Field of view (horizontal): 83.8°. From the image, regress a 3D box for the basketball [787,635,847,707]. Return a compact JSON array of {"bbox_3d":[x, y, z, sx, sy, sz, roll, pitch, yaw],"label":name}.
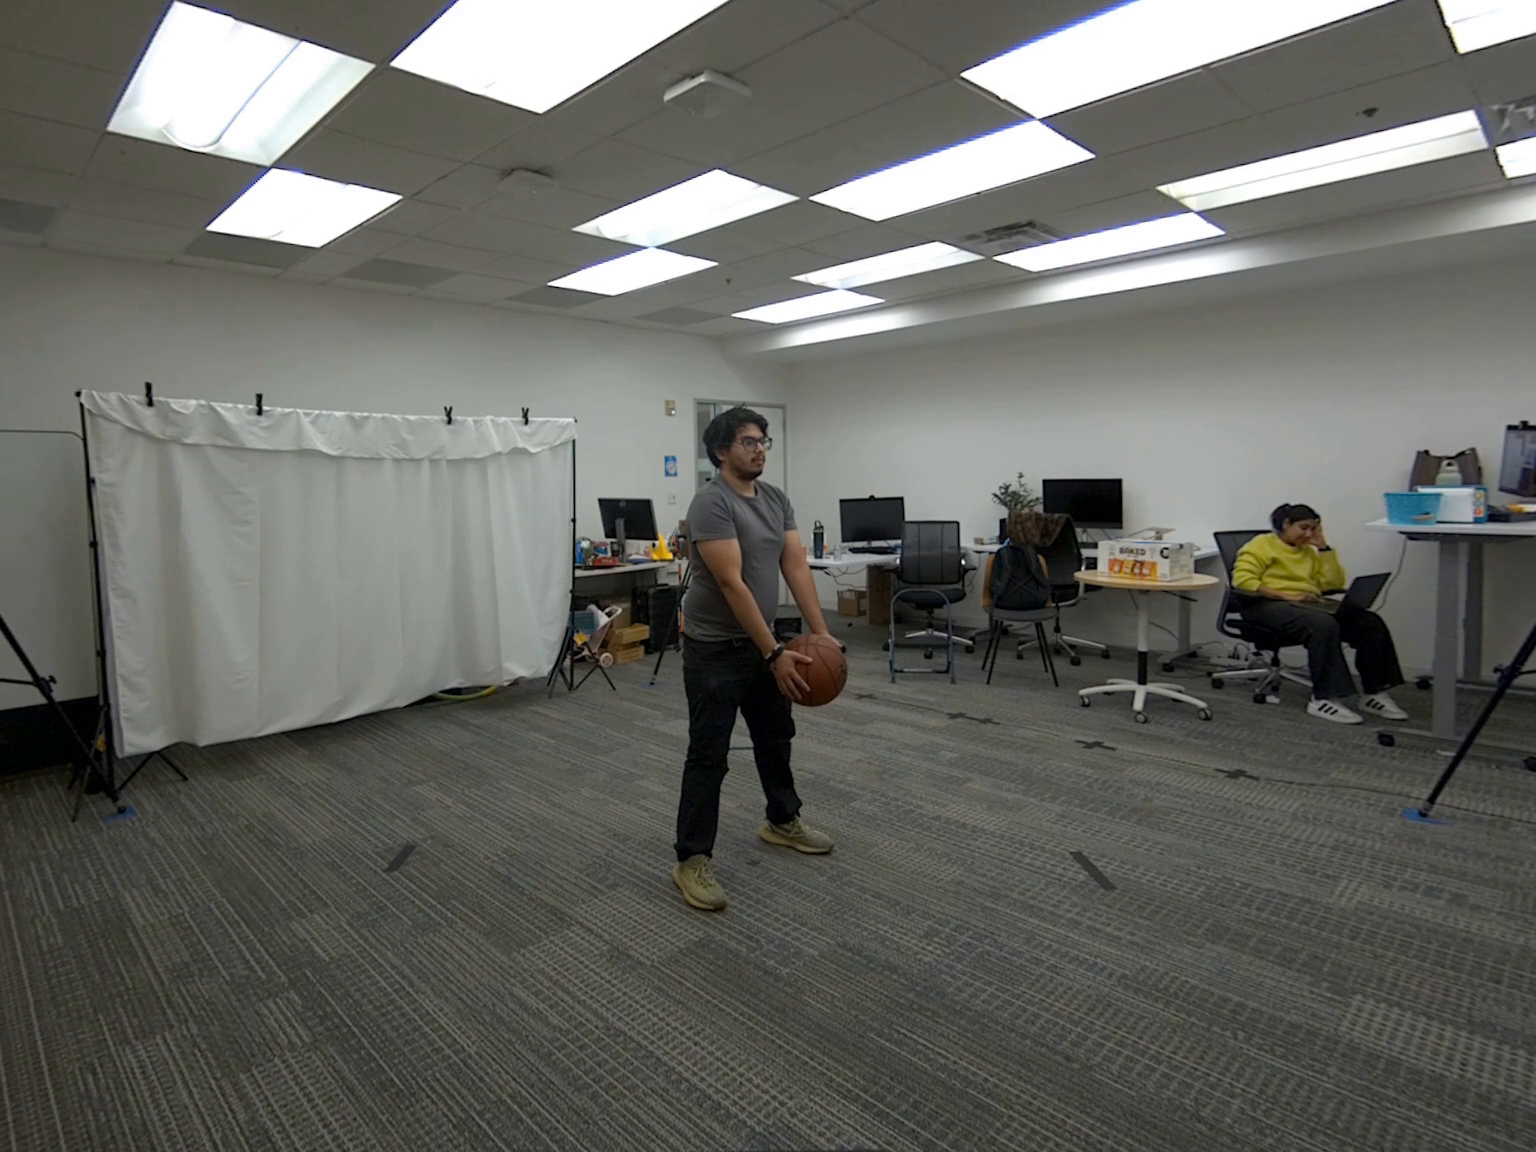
[{"bbox_3d":[0.146,0.308,2.818,0.236,0.235,0.237,-1,5,-2],"label":"basketball"}]
